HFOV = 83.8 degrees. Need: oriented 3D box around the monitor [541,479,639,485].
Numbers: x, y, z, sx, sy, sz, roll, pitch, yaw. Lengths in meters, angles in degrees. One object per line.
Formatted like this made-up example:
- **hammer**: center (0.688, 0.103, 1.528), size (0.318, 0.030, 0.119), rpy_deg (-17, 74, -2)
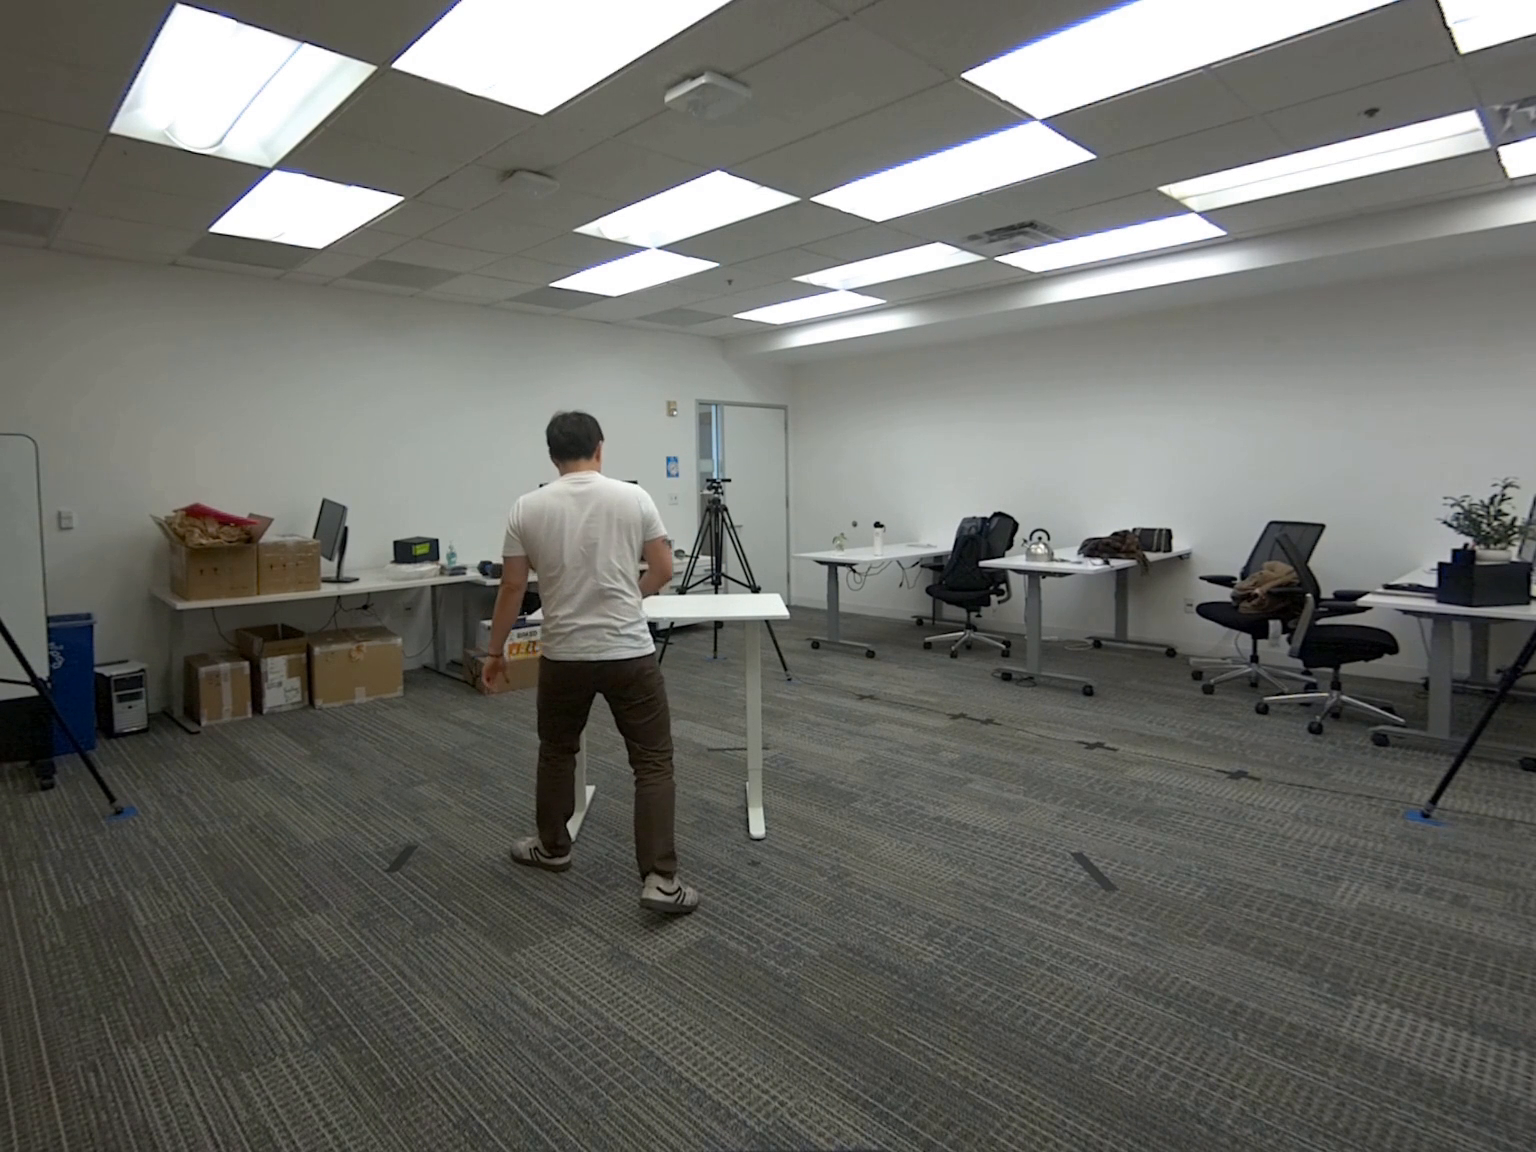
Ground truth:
- **monitor**: center (-0.727, -0.128, 3.546), size (0.553, 0.518, 0.184), rpy_deg (1, 9, 30)
